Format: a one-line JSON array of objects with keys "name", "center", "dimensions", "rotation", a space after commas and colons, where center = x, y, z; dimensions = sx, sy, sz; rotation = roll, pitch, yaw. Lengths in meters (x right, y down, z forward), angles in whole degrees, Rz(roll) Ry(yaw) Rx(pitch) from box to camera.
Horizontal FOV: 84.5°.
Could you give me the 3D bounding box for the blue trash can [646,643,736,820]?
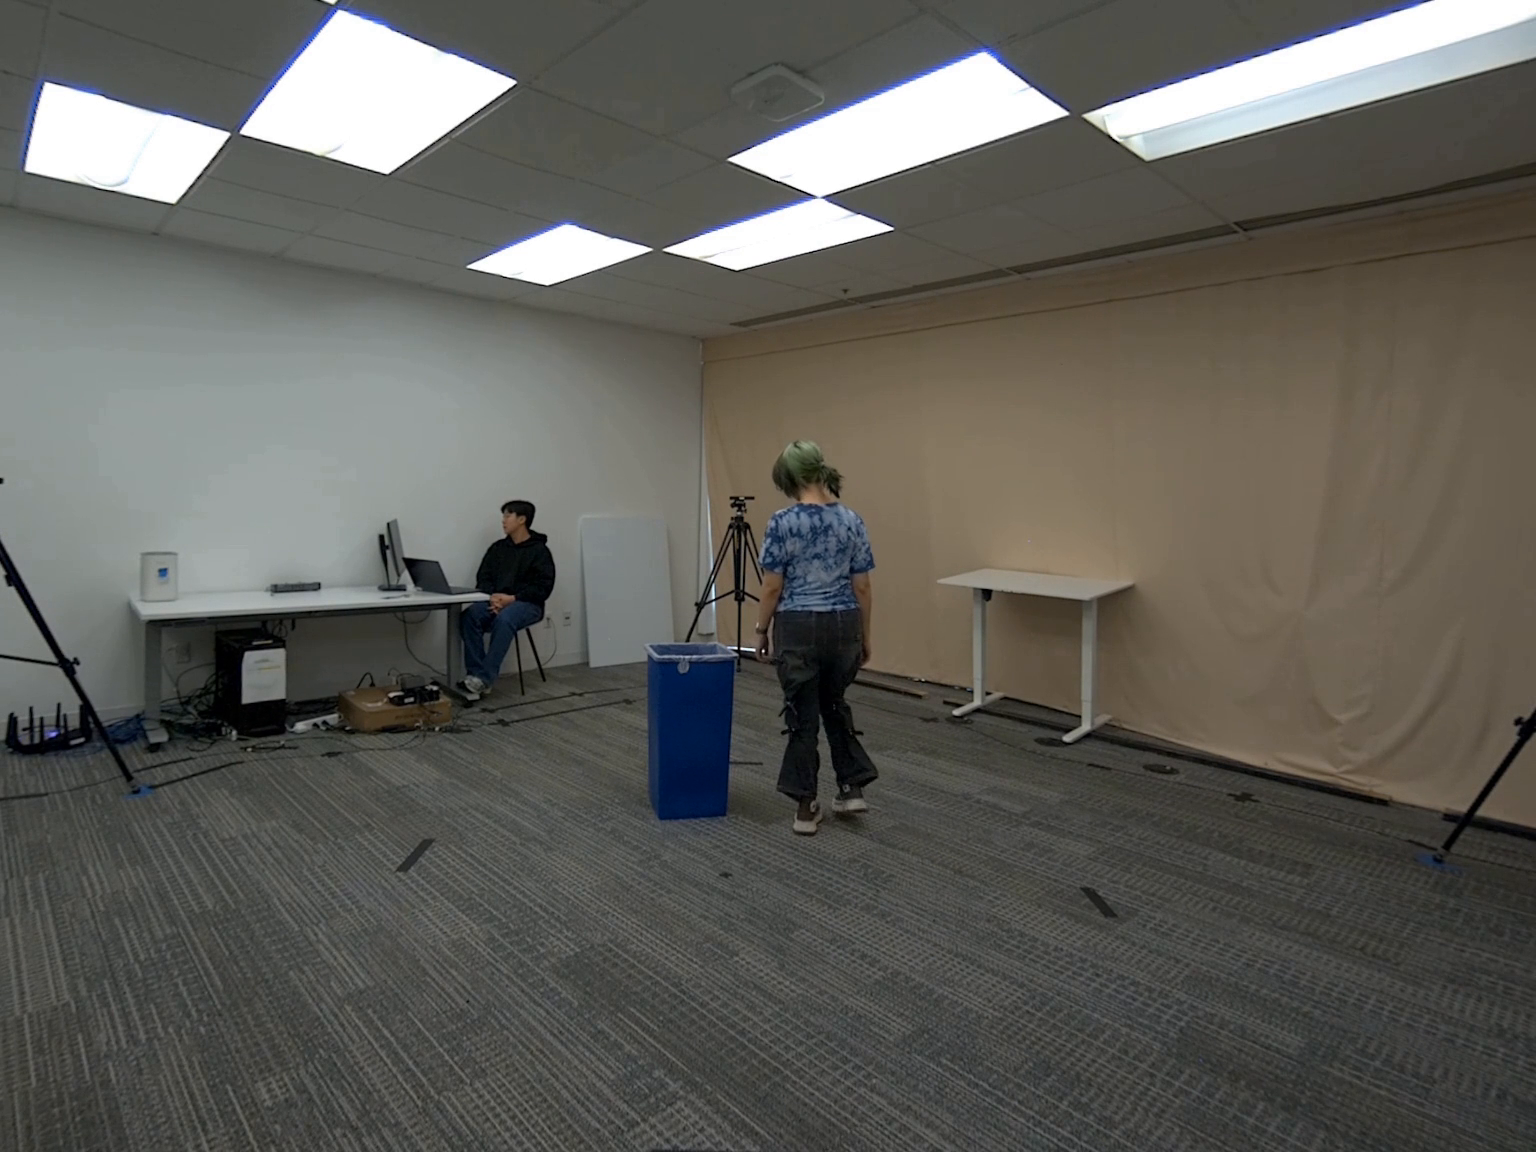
[{"name": "blue trash can", "center": [-0.363, 0.681, 3.788], "dimensions": [0.373, 0.712, 0.379], "rotation": [1, 3, -16]}]
